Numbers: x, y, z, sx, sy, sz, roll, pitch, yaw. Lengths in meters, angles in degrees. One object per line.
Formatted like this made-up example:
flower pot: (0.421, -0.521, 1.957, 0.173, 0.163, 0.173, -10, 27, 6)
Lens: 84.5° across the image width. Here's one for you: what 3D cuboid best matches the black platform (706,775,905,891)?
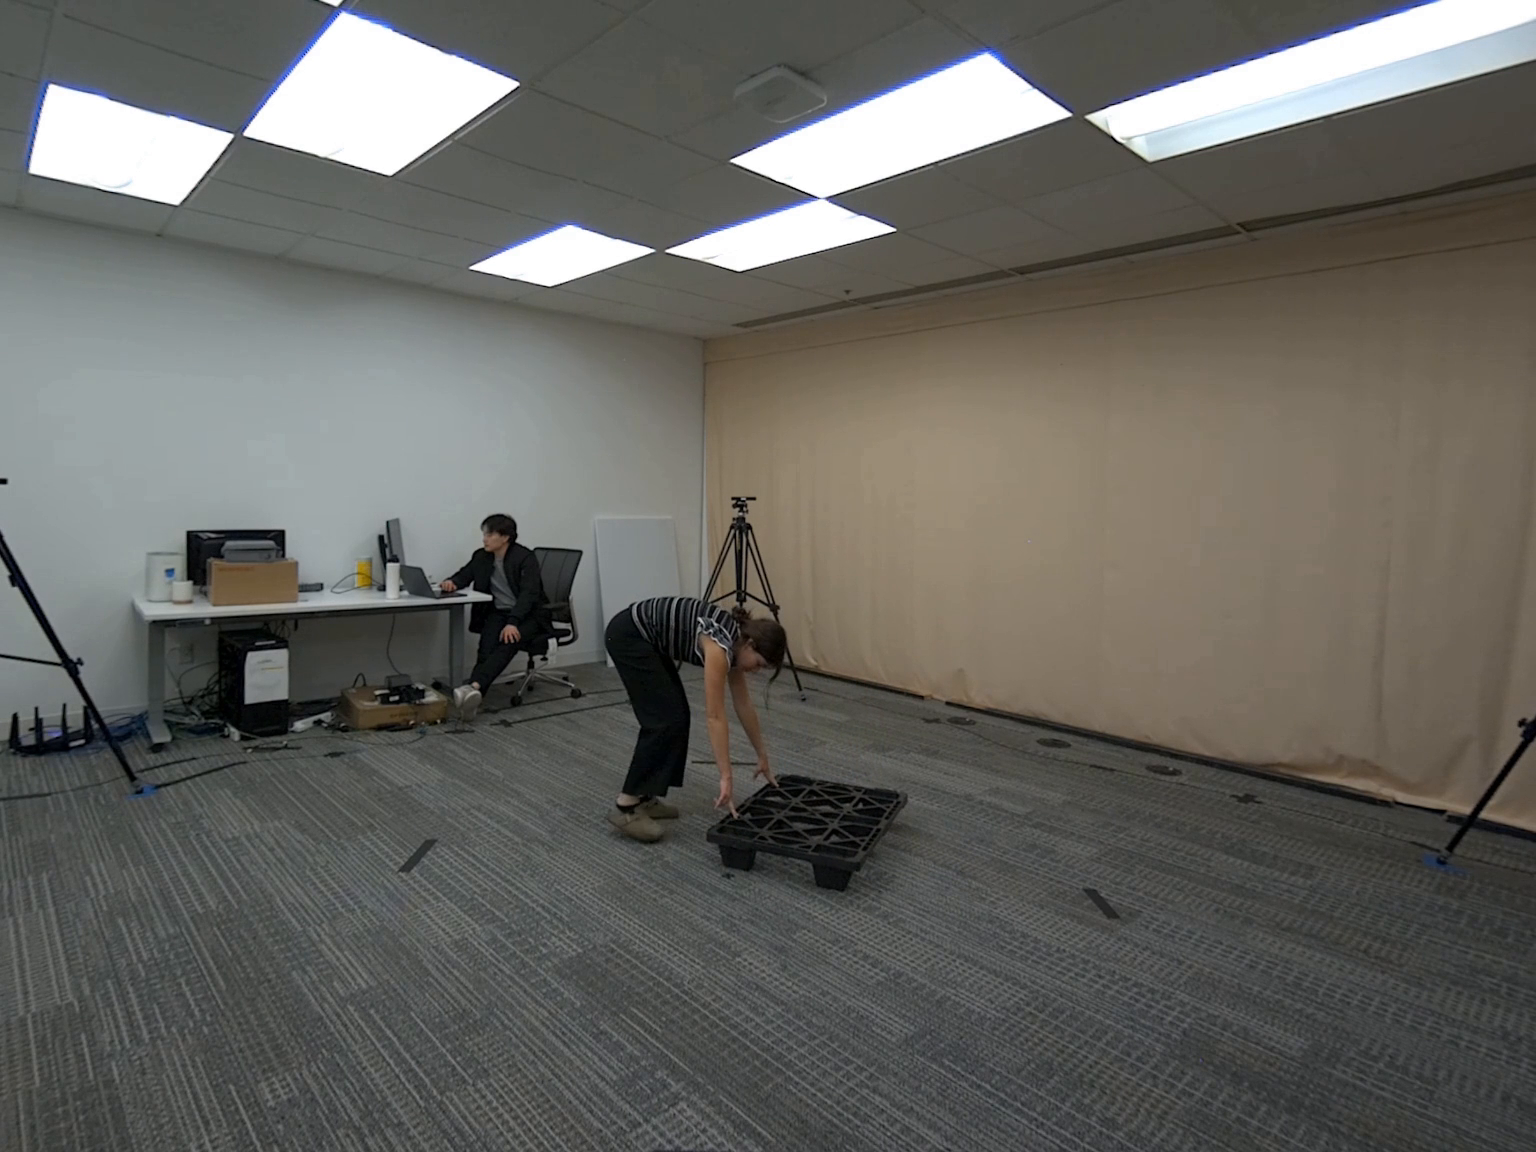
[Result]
black platform: (0.179, 1.017, 3.415, 0.616, 0.143, 0.793, 4, 6, 22)
